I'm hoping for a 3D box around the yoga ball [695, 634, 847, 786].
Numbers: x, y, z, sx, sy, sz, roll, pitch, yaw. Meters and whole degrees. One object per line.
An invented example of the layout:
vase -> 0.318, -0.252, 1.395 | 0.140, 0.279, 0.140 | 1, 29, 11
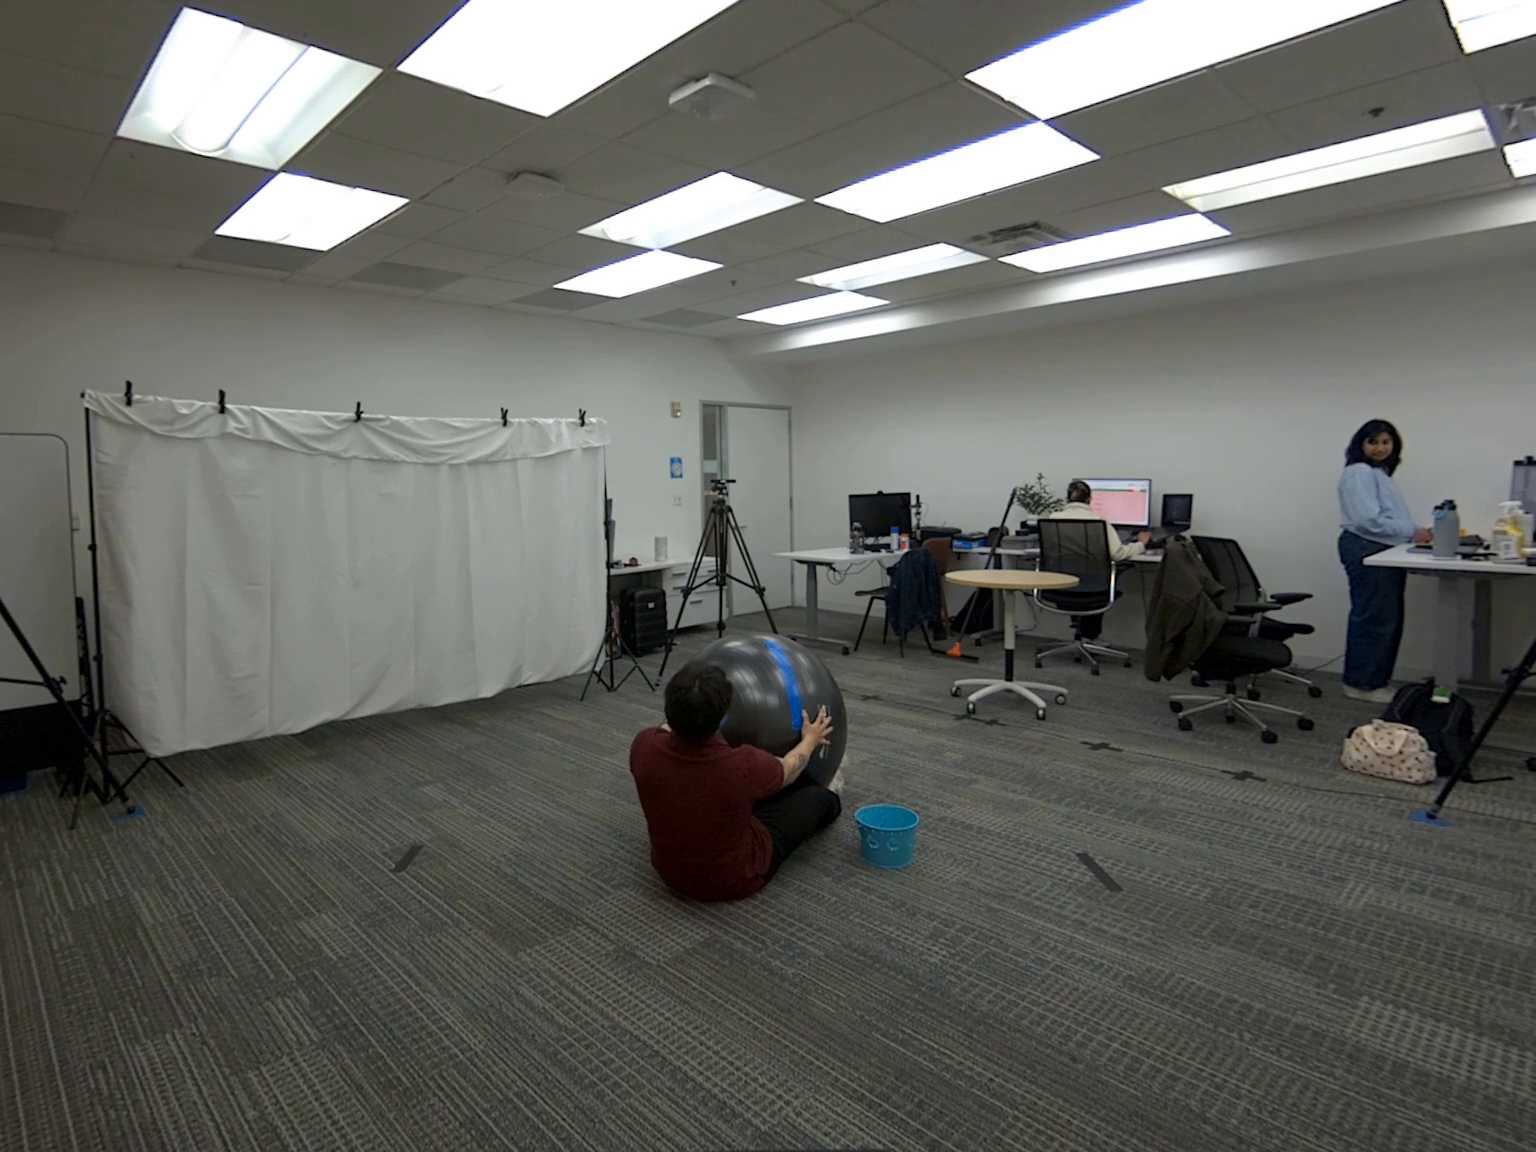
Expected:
yoga ball -> -0.054, 0.620, 3.558 | 0.757, 0.755, 0.762 | -1, 5, -2
